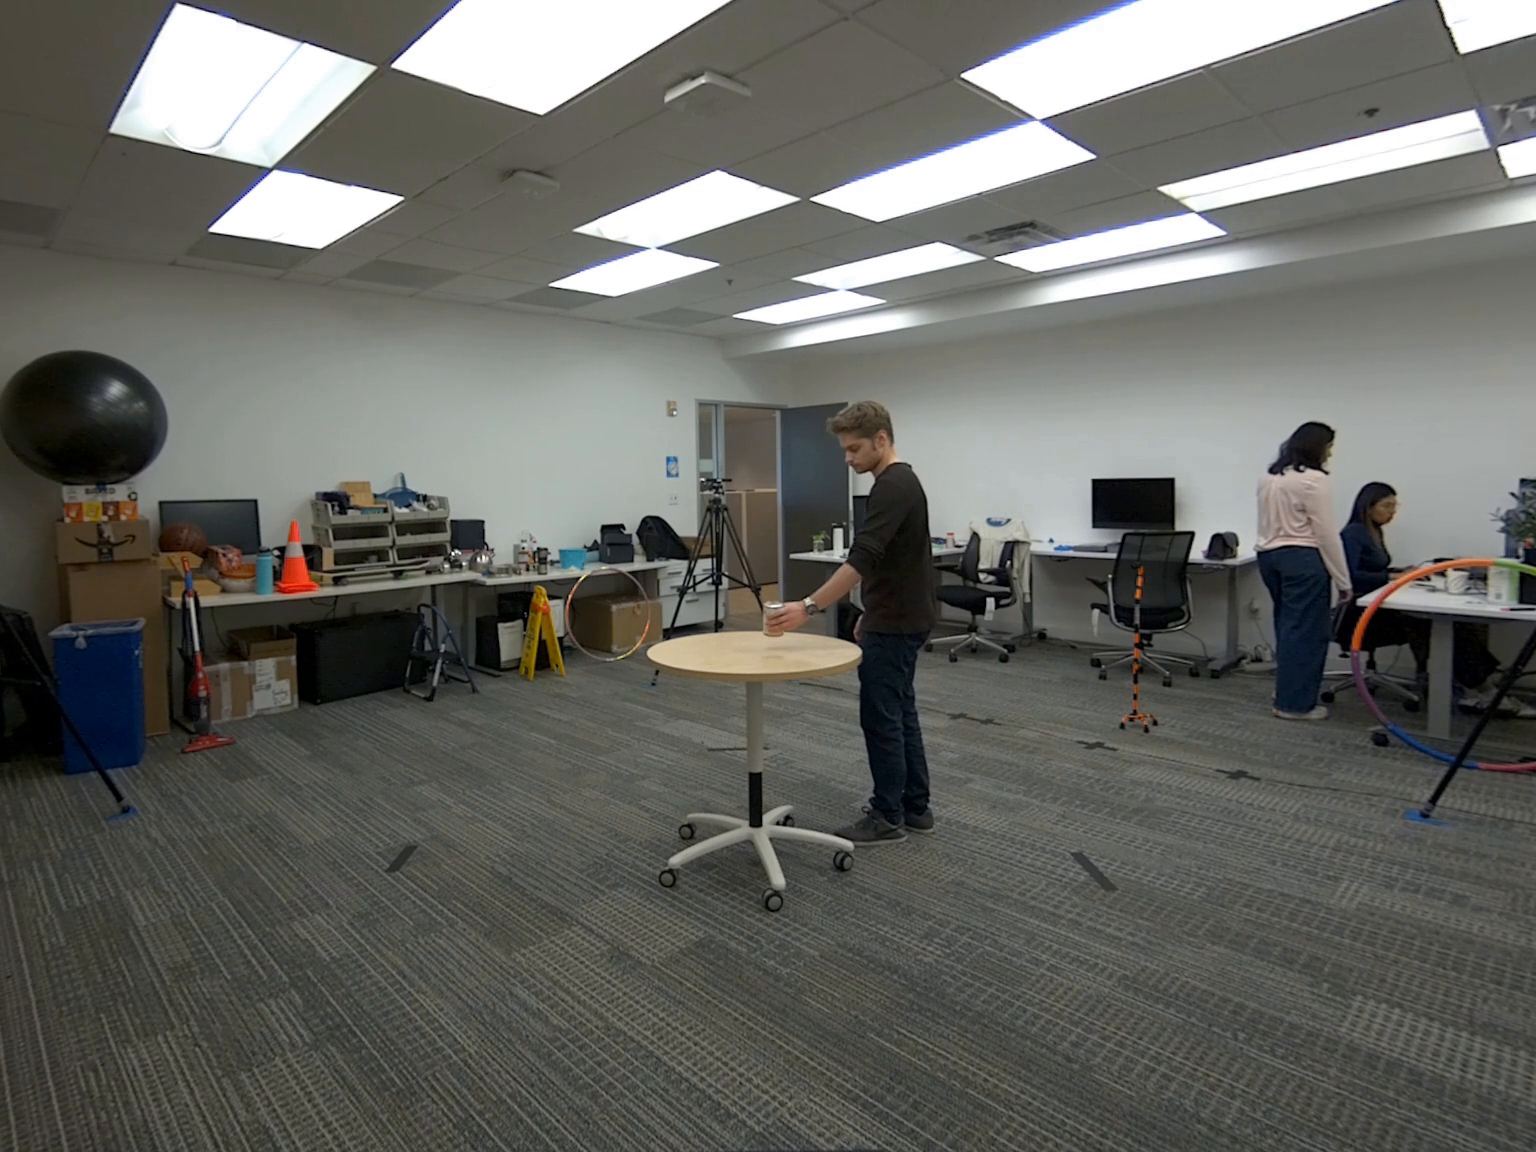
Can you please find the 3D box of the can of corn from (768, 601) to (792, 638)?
[{"bbox_3d":[0.040,0.152,3.043,0.074,0.110,0.075,-2,10,-1],"label":"can of corn"}]
